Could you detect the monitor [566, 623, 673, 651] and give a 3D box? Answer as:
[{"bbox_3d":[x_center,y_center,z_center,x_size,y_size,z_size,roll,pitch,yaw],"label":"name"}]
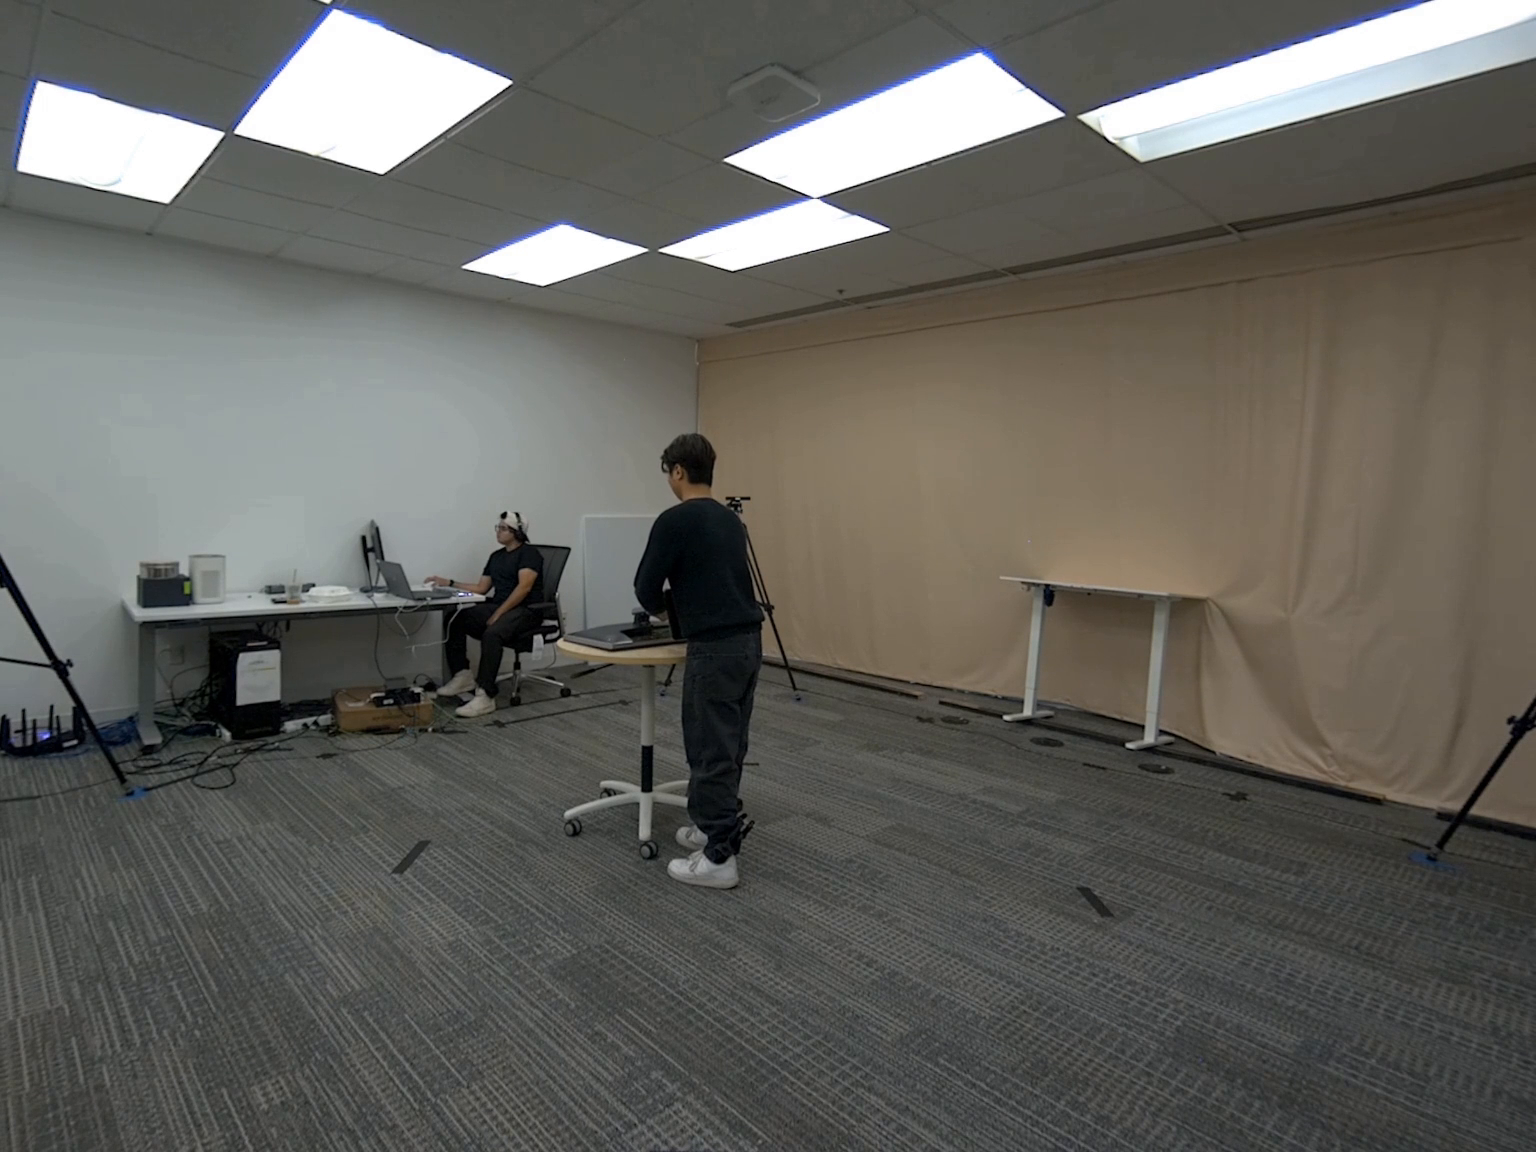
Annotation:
[{"bbox_3d":[-0.489,0.197,3.529,0.526,0.188,0.531,0,-11,-43],"label":"monitor"}]
